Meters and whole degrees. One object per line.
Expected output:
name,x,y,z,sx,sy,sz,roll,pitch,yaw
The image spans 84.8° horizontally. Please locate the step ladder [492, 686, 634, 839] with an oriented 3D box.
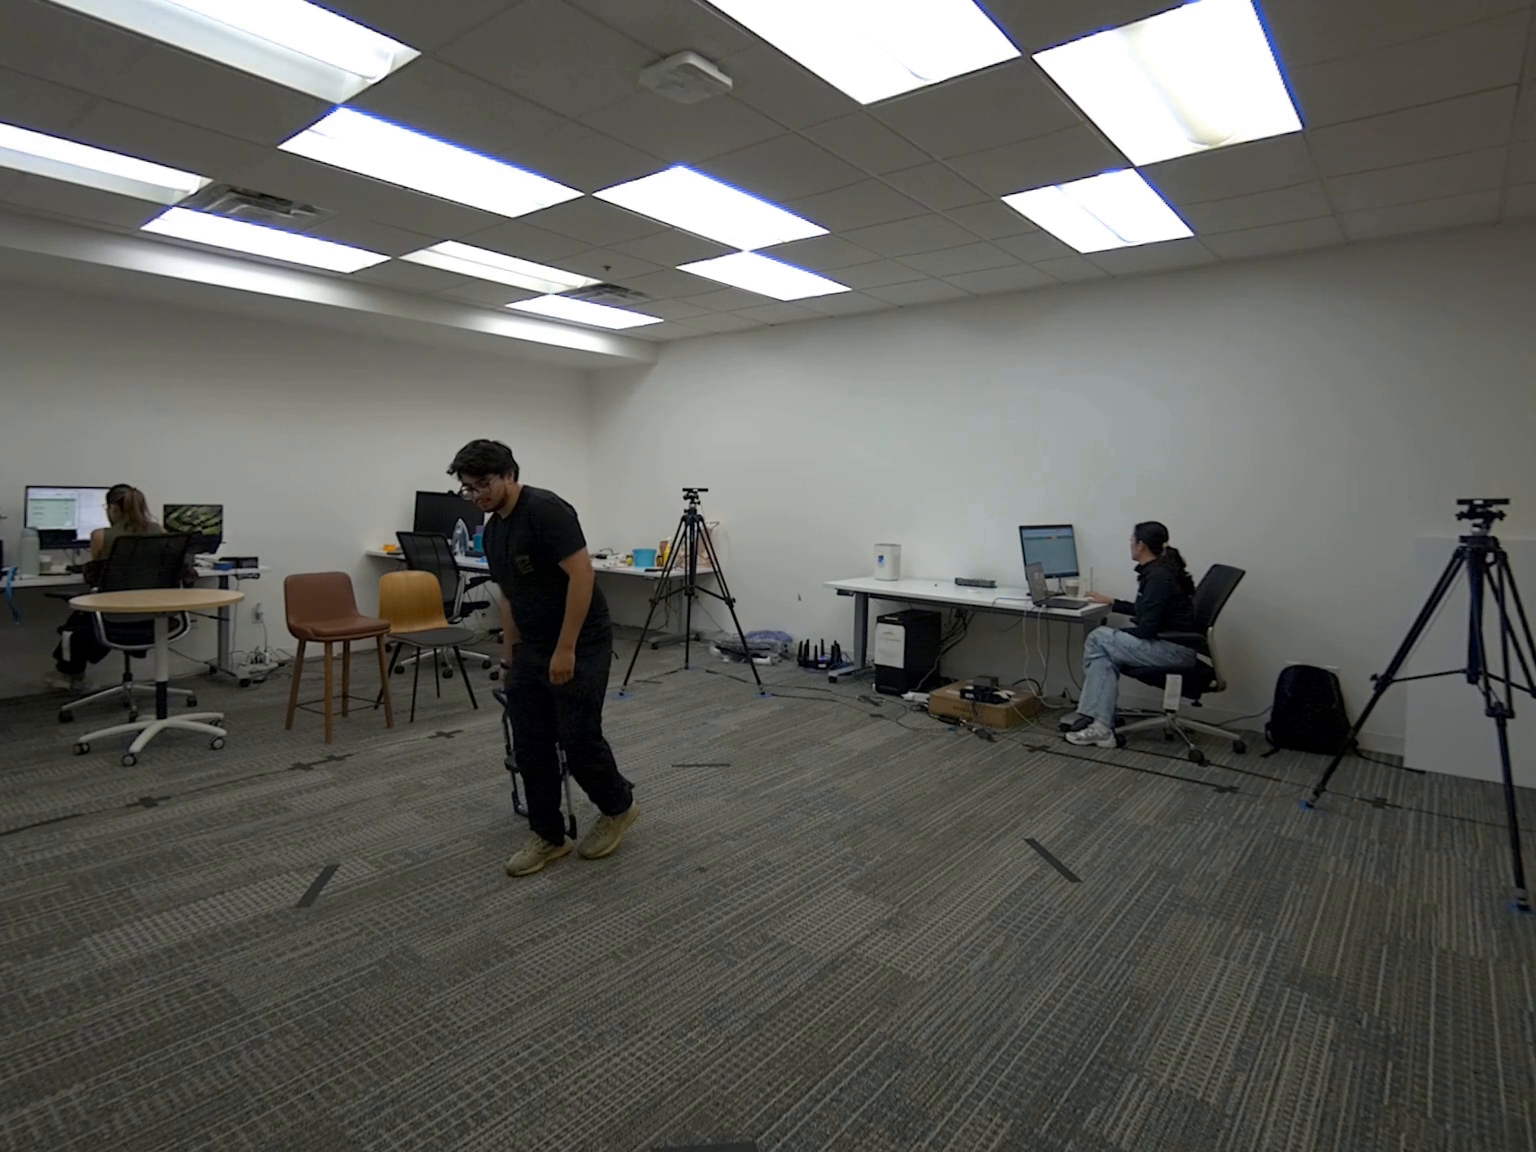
step ladder,-0.915,0.674,3.495,0.445,0.591,0.346,4,30,40
